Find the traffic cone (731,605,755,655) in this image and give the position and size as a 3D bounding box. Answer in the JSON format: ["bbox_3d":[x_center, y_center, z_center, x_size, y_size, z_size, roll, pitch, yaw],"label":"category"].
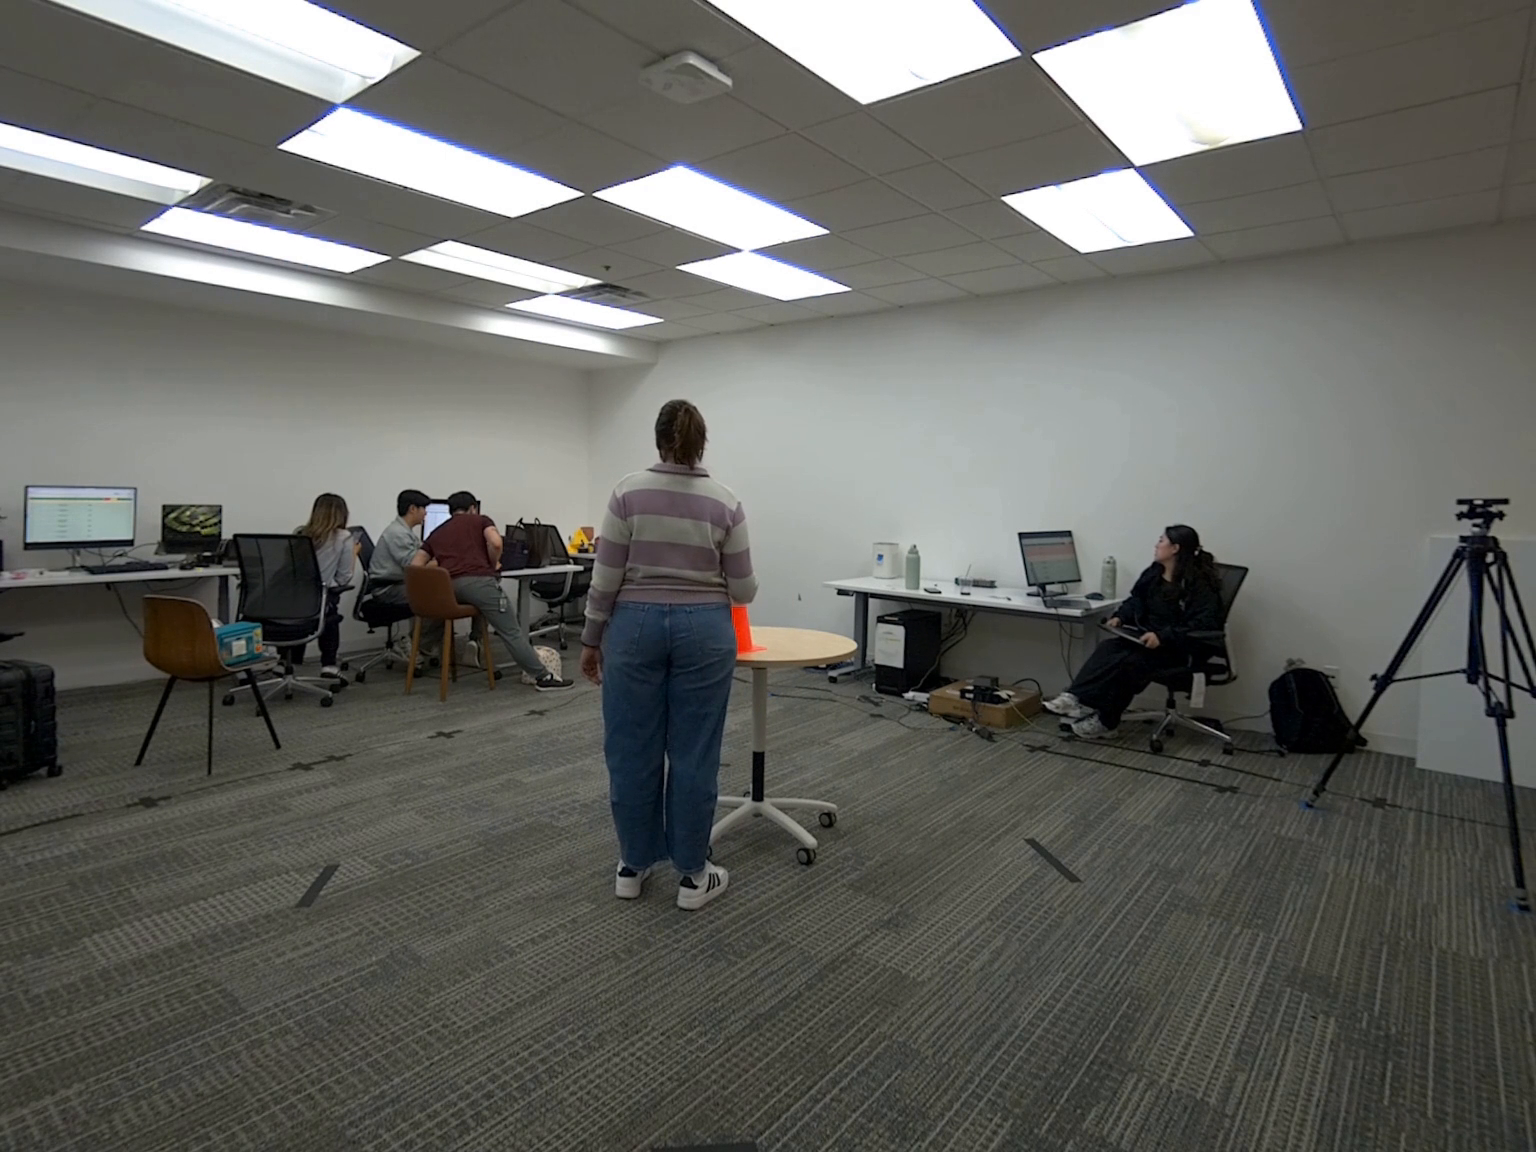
[{"bbox_3d":[-0.148,0.088,3.237,0.209,0.383,0.199,1,3,33],"label":"traffic cone"}]
